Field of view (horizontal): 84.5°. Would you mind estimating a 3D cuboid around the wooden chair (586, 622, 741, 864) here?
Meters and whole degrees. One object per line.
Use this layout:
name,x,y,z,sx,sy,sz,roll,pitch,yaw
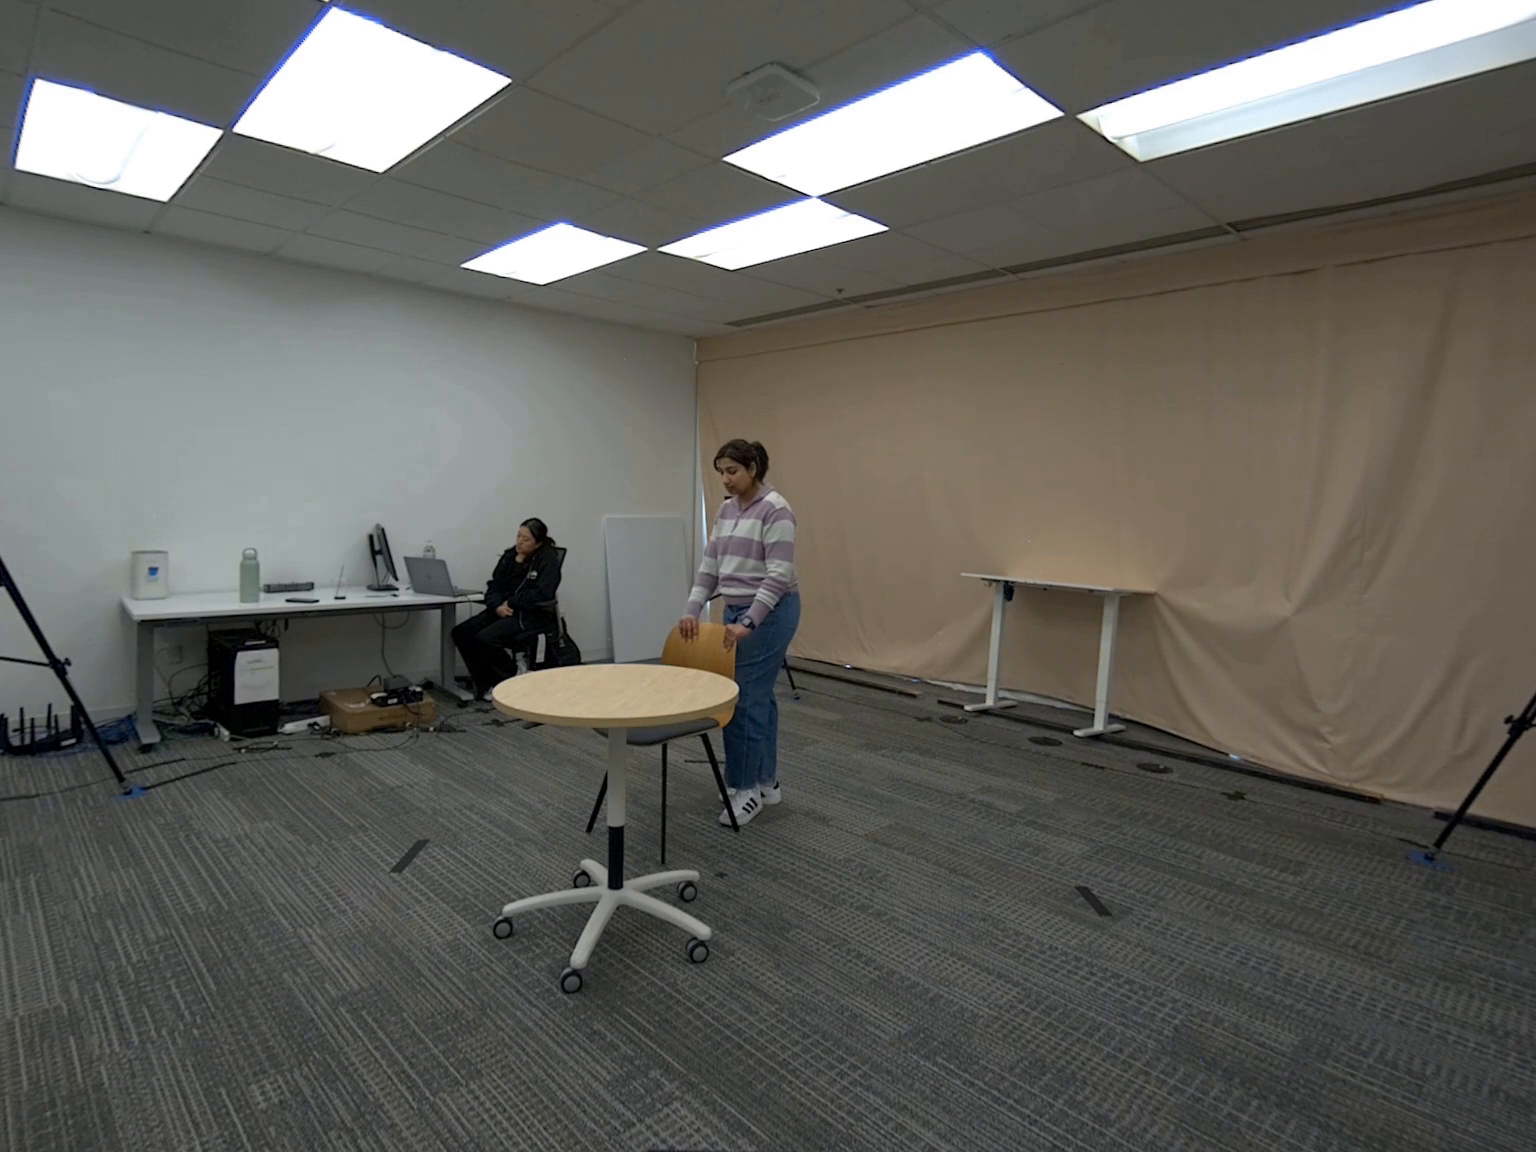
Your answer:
wooden chair,-0.432,0.635,3.446,0.490,0.877,0.510,5,0,39
